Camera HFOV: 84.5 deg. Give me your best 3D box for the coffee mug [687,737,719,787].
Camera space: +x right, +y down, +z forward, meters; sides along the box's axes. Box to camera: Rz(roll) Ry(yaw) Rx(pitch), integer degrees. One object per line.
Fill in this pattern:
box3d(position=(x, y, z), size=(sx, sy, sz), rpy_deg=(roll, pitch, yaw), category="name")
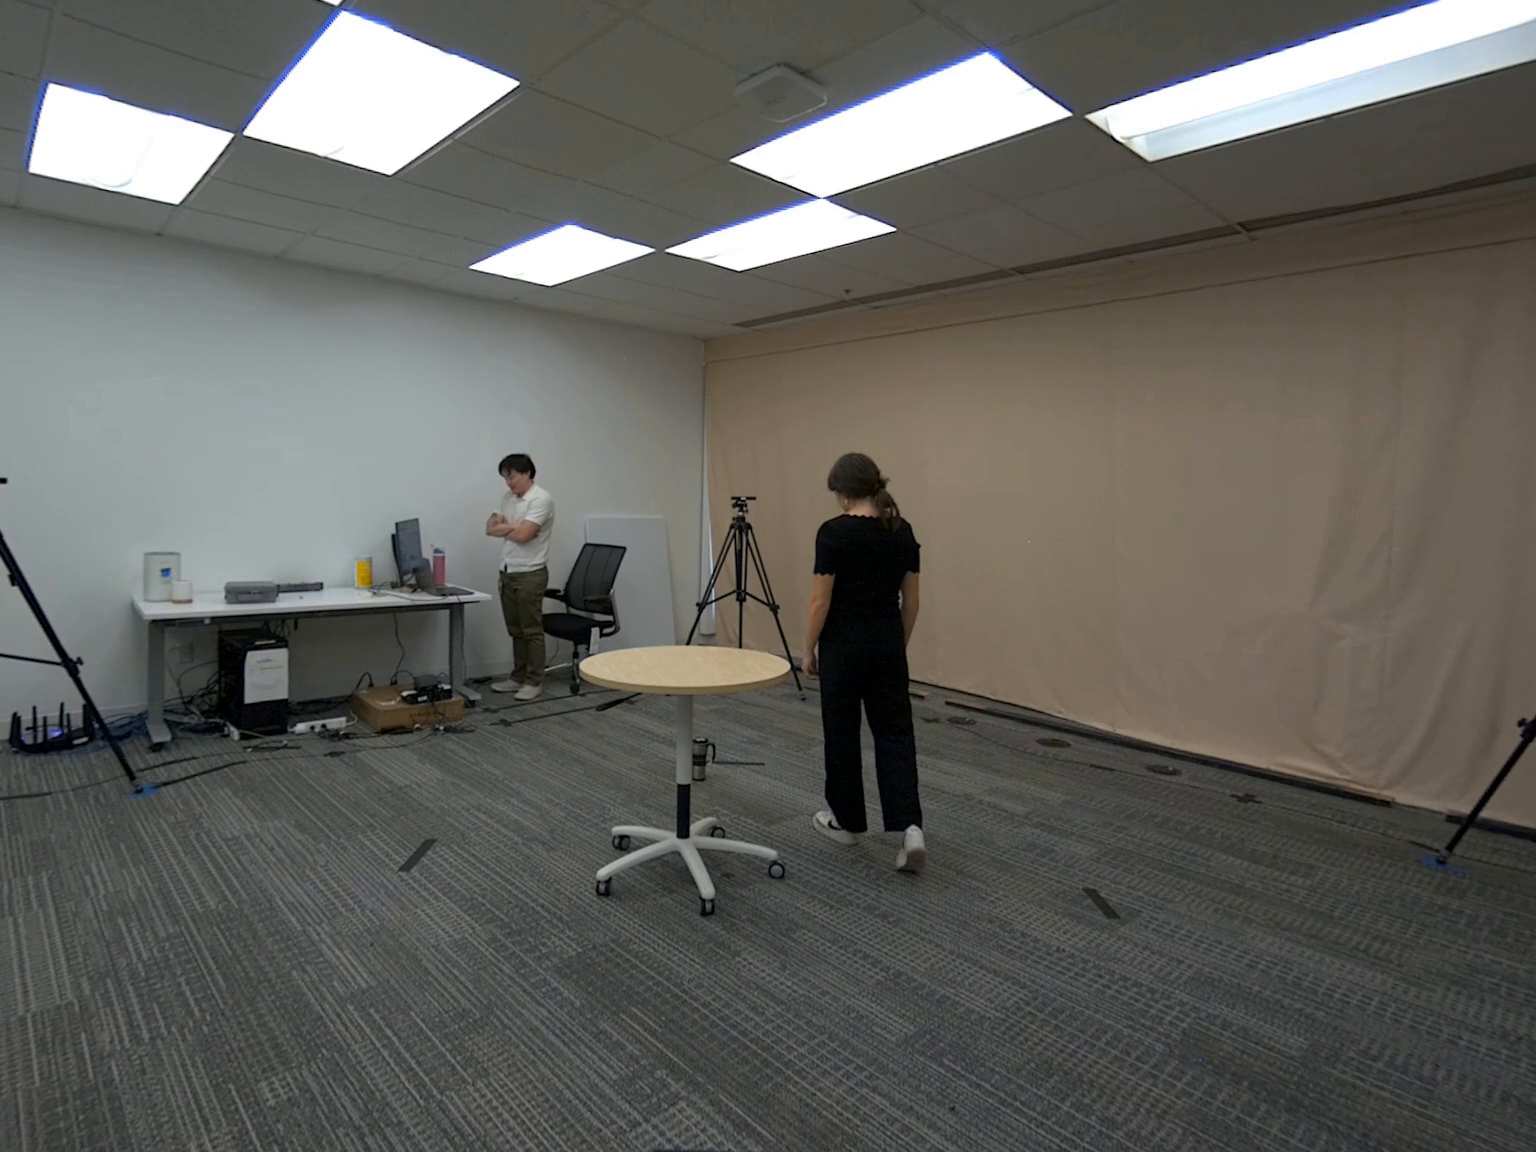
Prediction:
box3d(position=(-0.321, 0.911, 4.159), size=(0.124, 0.203, 0.086), rpy_deg=(2, 0, 27), category="coffee mug")
